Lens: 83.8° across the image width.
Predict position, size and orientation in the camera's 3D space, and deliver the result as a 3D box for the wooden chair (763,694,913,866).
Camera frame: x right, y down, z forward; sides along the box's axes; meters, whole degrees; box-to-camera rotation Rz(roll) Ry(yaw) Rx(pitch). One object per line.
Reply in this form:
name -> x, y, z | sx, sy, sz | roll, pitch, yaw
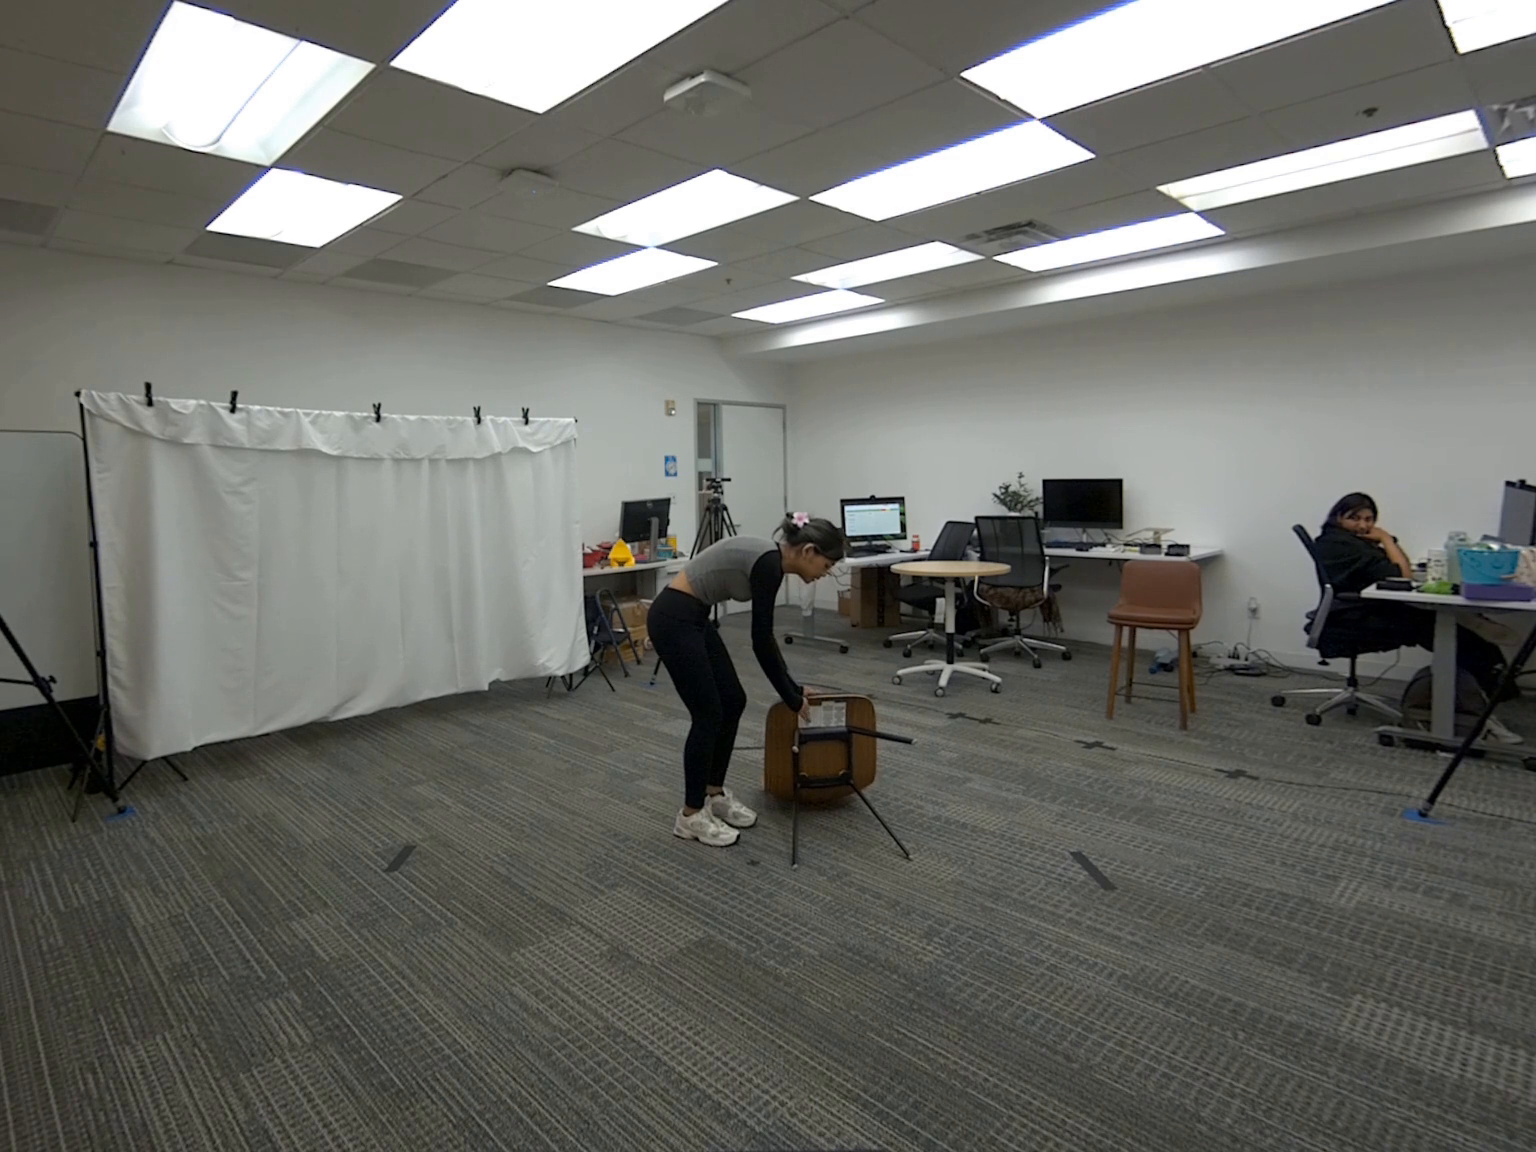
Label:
wooden chair -> 0.231, 0.737, 3.459 | 0.474, 0.521, 0.888 | -1, 5, -10
